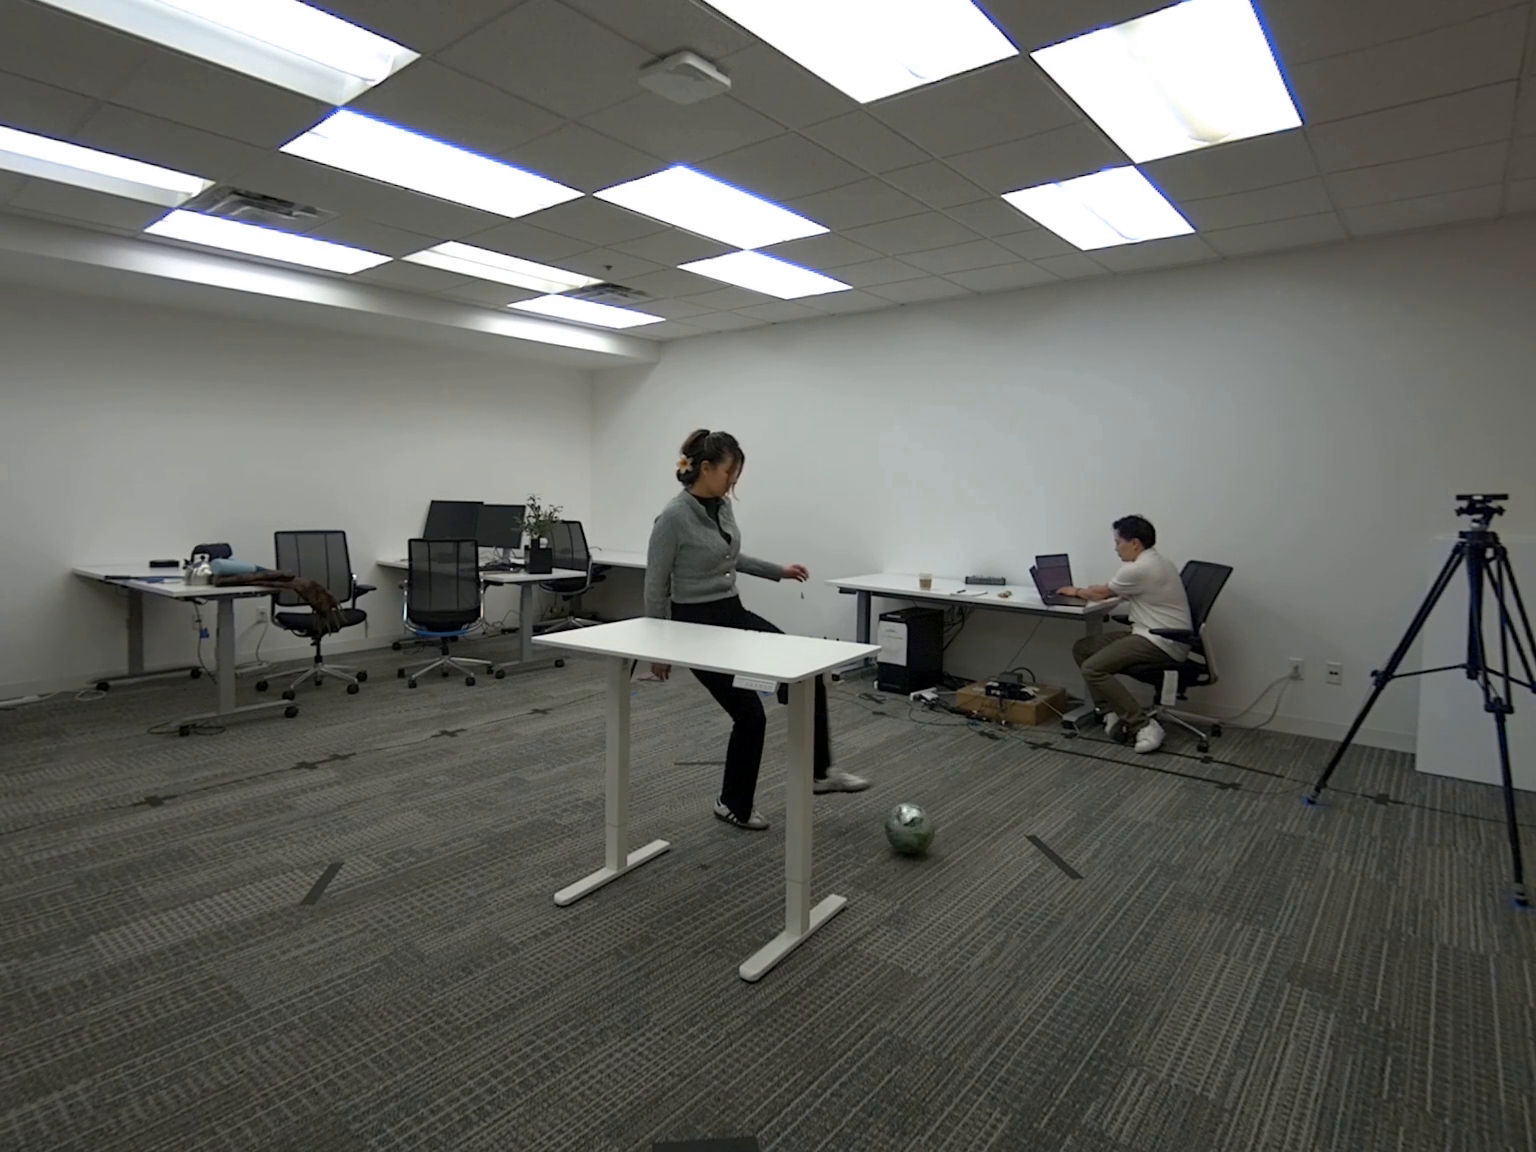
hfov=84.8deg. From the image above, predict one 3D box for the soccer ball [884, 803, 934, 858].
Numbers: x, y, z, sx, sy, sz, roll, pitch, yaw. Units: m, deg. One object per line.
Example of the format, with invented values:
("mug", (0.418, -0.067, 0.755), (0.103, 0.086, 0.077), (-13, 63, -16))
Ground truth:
("soccer ball", (0.529, 0.967, 3.268), (0.187, 0.187, 0.188), (0, 4, -2))
